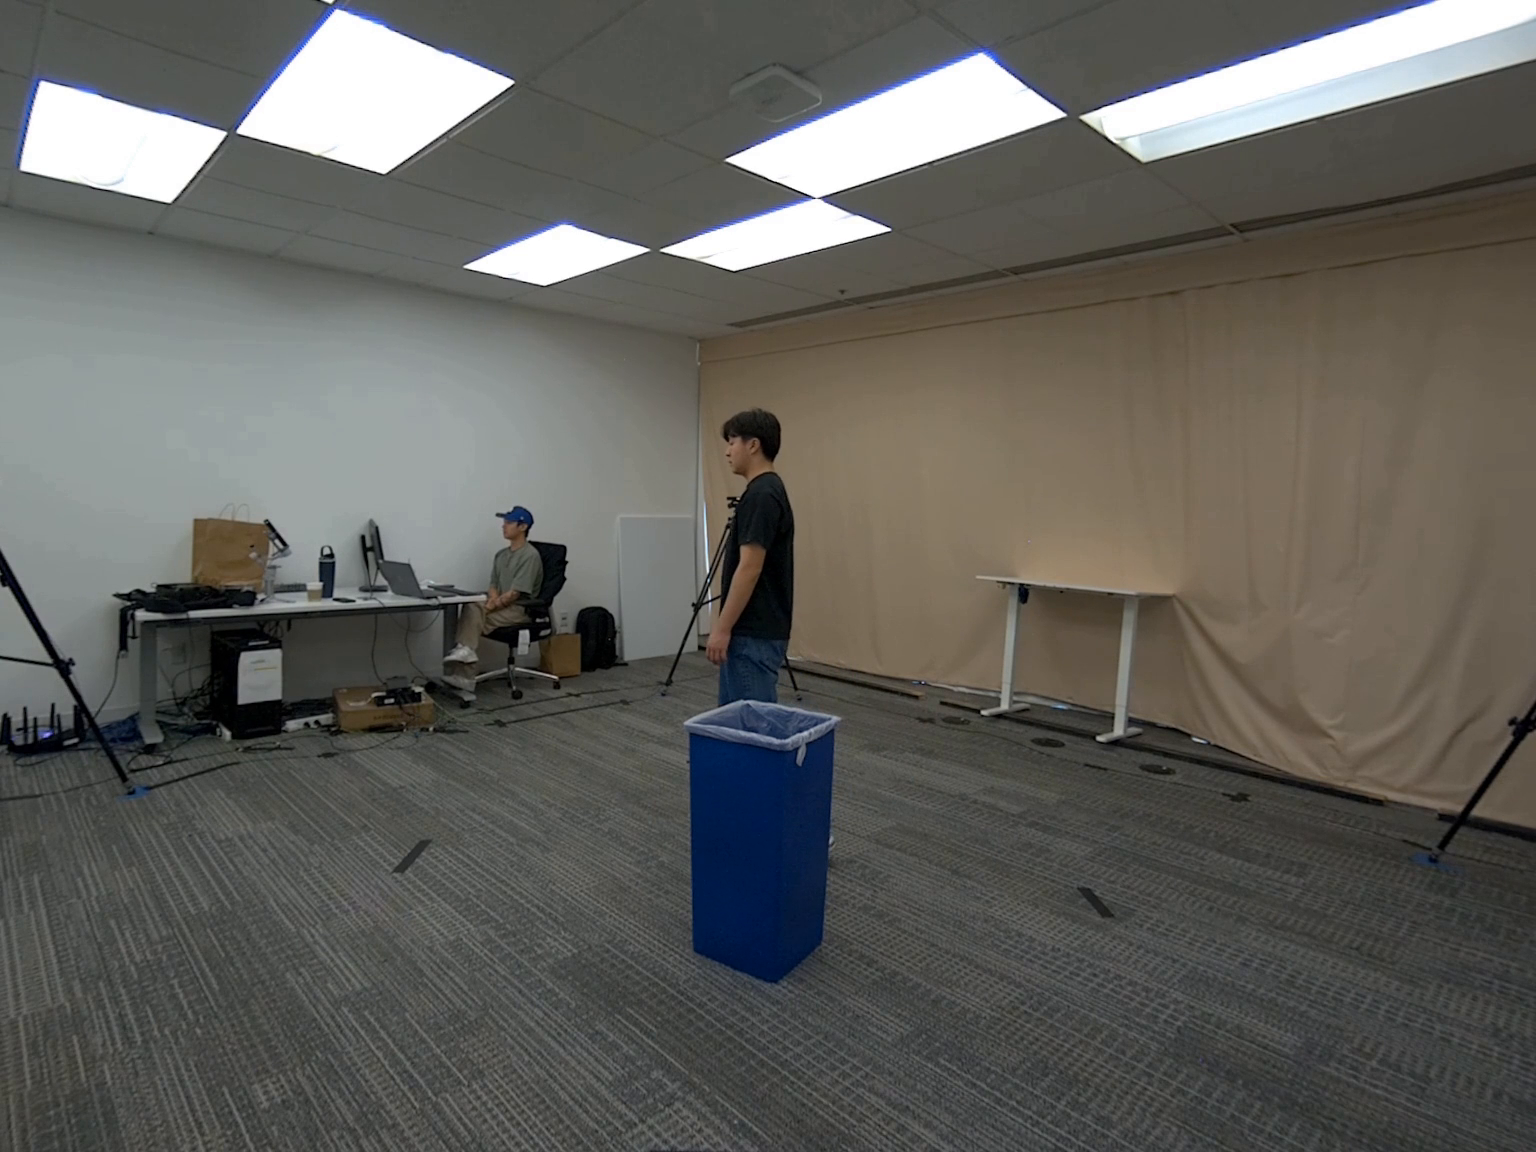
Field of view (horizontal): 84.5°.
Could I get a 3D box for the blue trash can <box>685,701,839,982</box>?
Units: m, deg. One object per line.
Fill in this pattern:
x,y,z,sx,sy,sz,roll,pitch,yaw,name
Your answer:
-0.034,0.798,2.599,0.383,0.712,0.370,4,4,32,blue trash can
